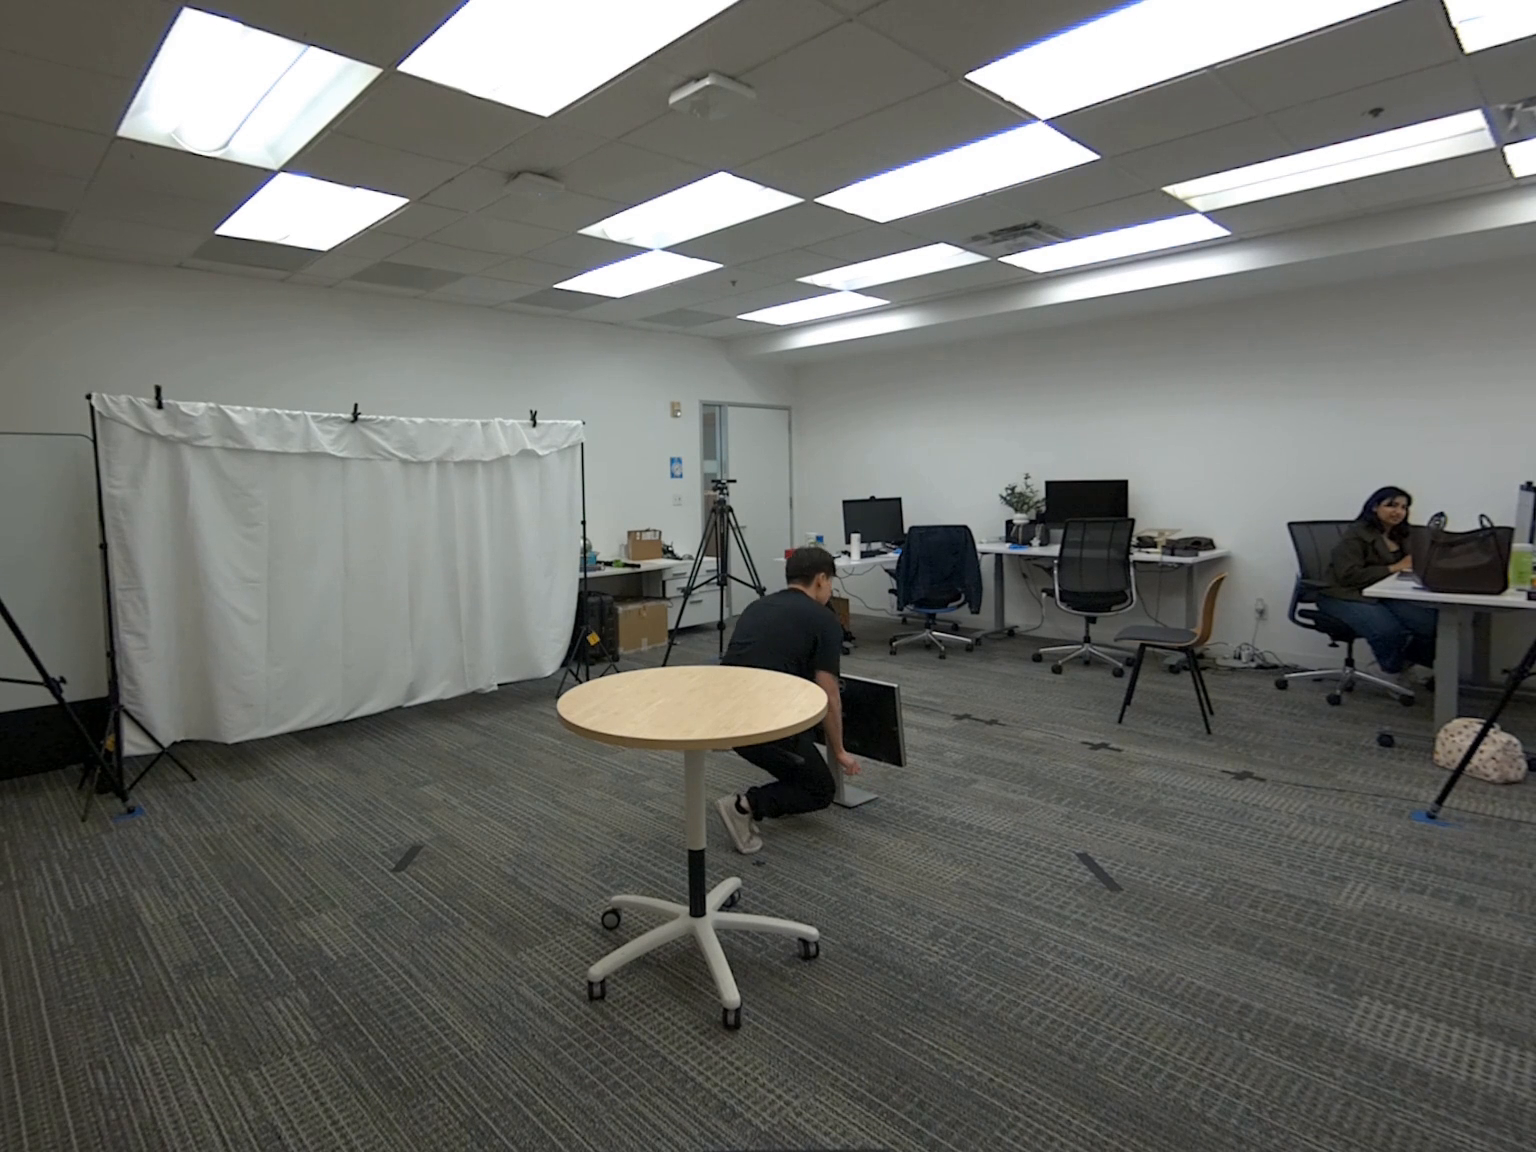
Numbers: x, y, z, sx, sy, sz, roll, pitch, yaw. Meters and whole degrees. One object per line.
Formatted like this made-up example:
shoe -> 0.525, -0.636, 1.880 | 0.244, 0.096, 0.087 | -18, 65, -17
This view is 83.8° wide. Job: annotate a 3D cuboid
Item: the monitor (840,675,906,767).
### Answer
monitor -> 0.339, 0.703, 3.753 | 0.556, 0.522, 0.182 | 4, 3, 43
